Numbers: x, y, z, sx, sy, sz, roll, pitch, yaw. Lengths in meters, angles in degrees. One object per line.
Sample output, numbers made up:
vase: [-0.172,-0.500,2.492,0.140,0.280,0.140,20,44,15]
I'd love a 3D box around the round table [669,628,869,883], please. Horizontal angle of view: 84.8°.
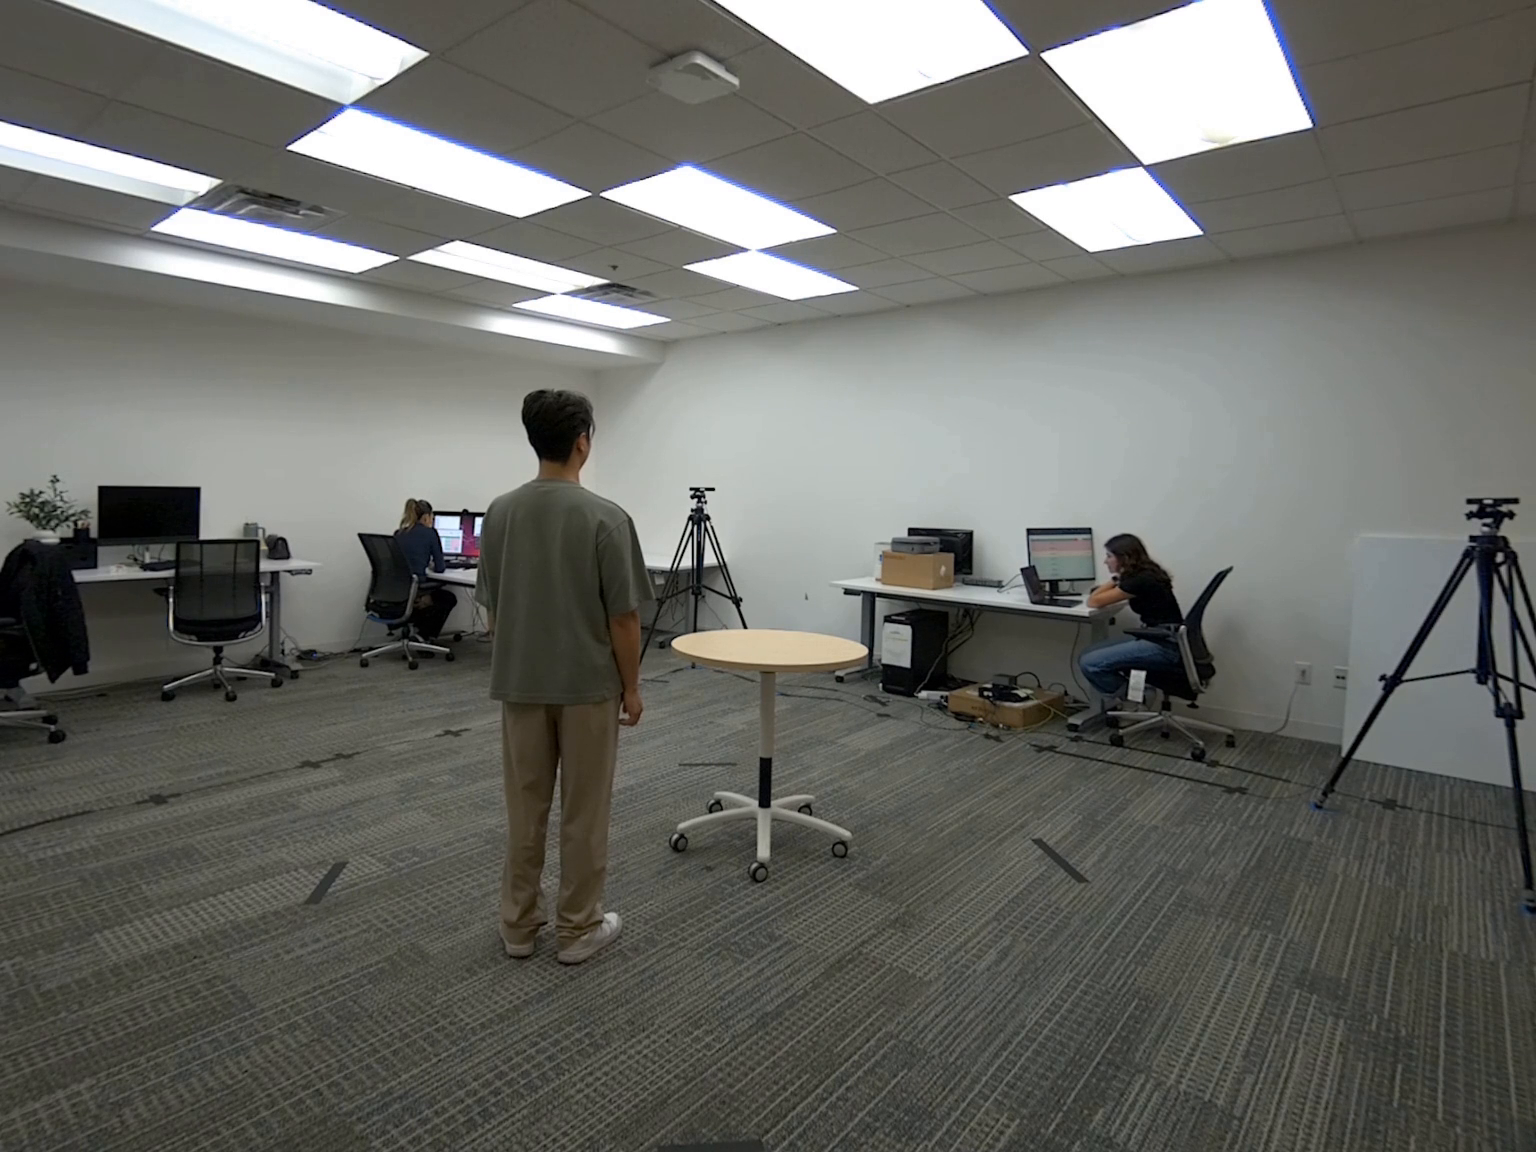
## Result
round table: [-0.010,0.654,3.336,0.784,0.784,0.789,1,4,-2]
